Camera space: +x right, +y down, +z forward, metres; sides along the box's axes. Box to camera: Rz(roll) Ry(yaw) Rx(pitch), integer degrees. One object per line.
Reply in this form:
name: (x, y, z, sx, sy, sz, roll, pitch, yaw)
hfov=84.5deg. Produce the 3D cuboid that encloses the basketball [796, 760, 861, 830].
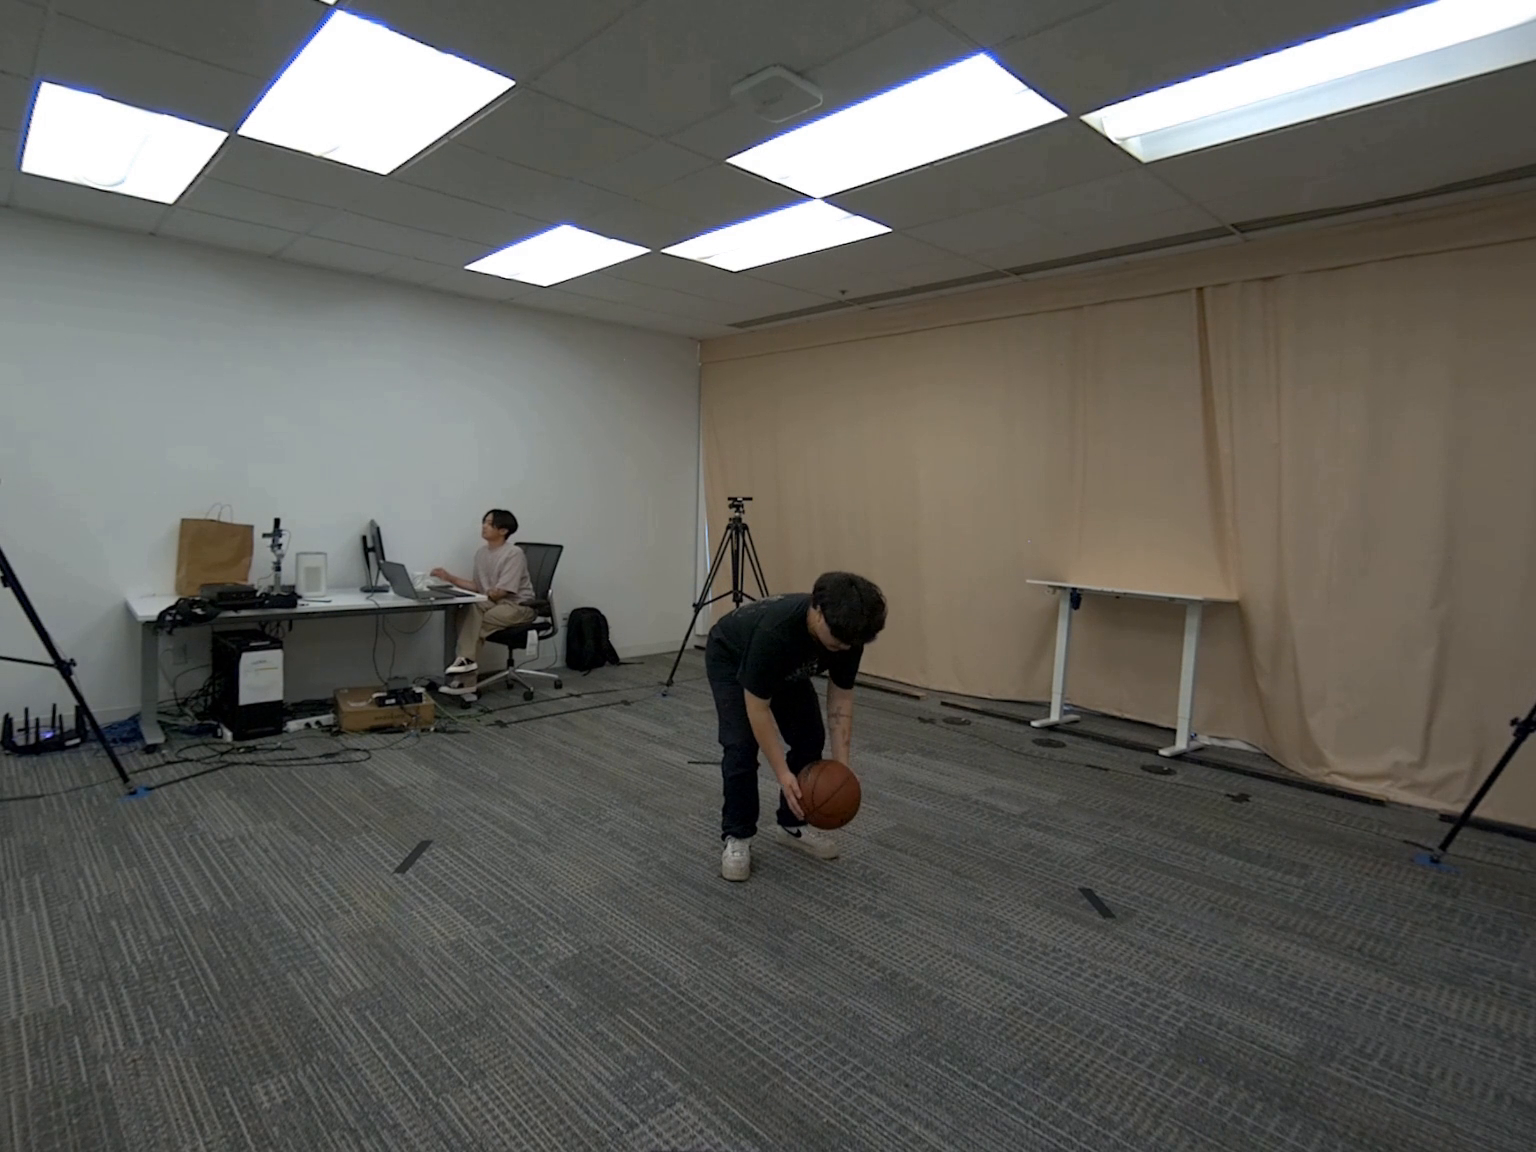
basketball: (0.198, 0.770, 2.956, 0.236, 0.235, 0.237, 1, 4, -1)
